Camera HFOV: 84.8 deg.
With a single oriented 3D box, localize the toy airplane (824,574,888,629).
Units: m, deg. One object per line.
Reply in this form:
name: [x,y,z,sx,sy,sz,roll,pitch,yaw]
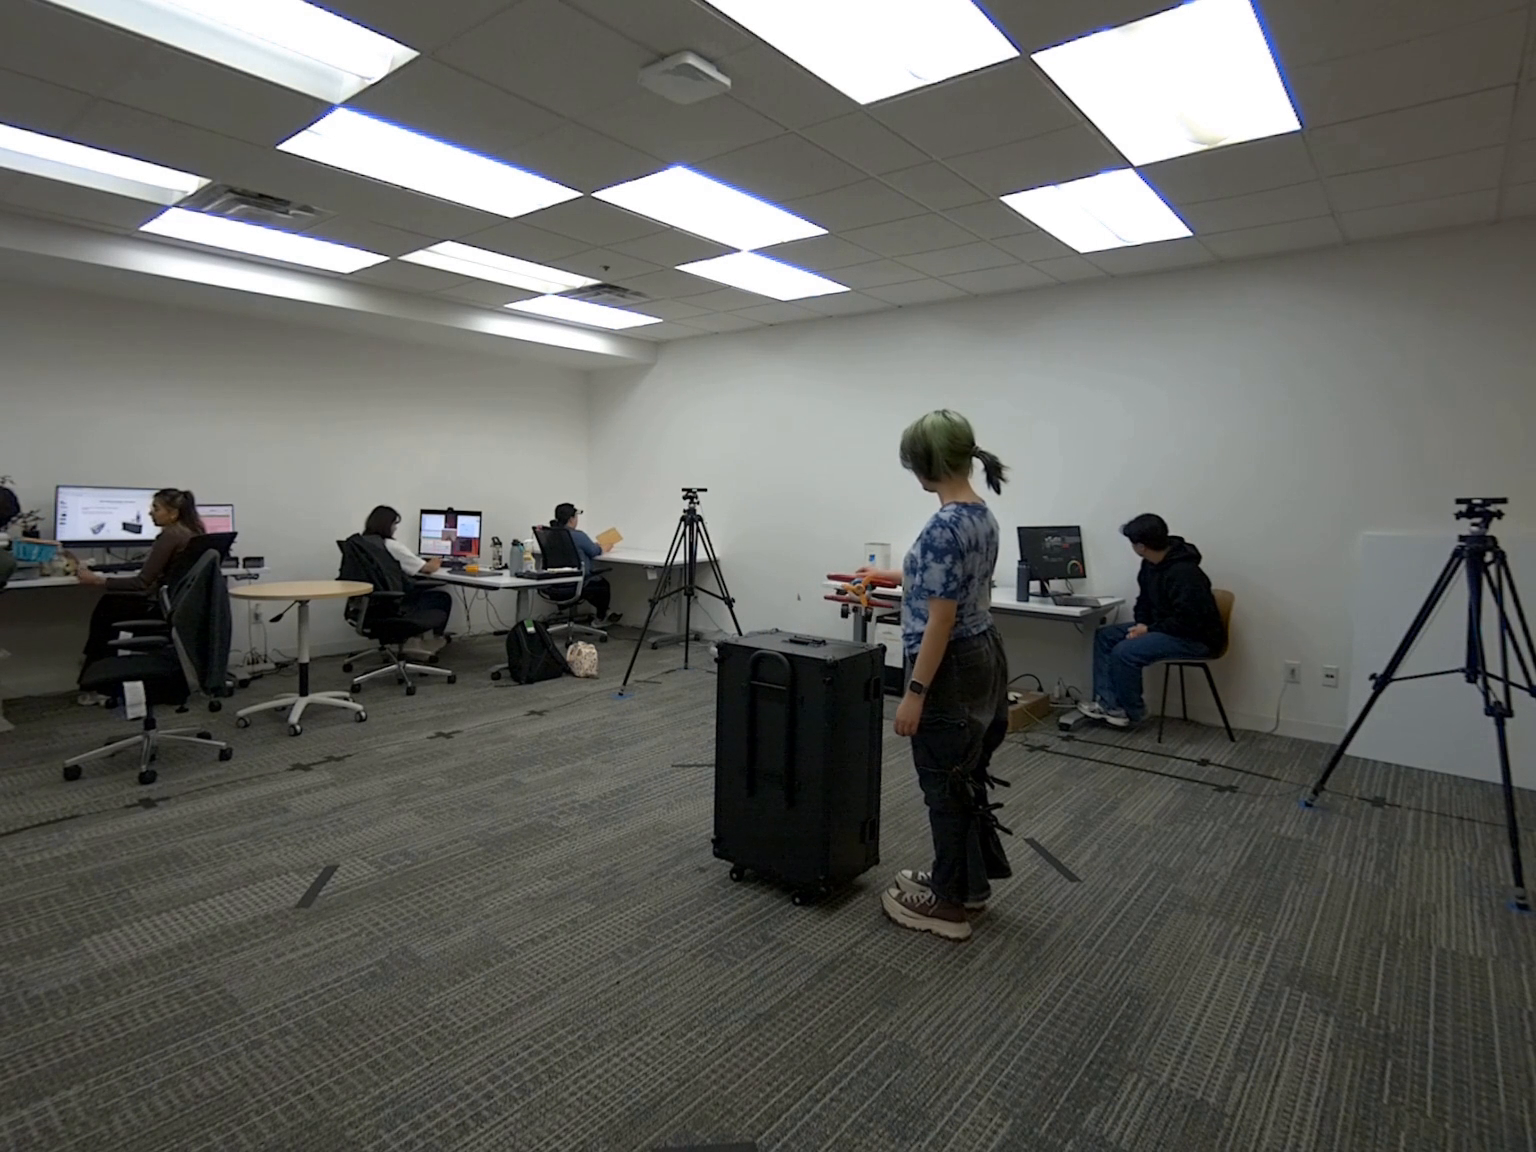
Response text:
toy airplane: [0.309,0.068,3.133,0.247,0.155,0.265,4,7,-16]
